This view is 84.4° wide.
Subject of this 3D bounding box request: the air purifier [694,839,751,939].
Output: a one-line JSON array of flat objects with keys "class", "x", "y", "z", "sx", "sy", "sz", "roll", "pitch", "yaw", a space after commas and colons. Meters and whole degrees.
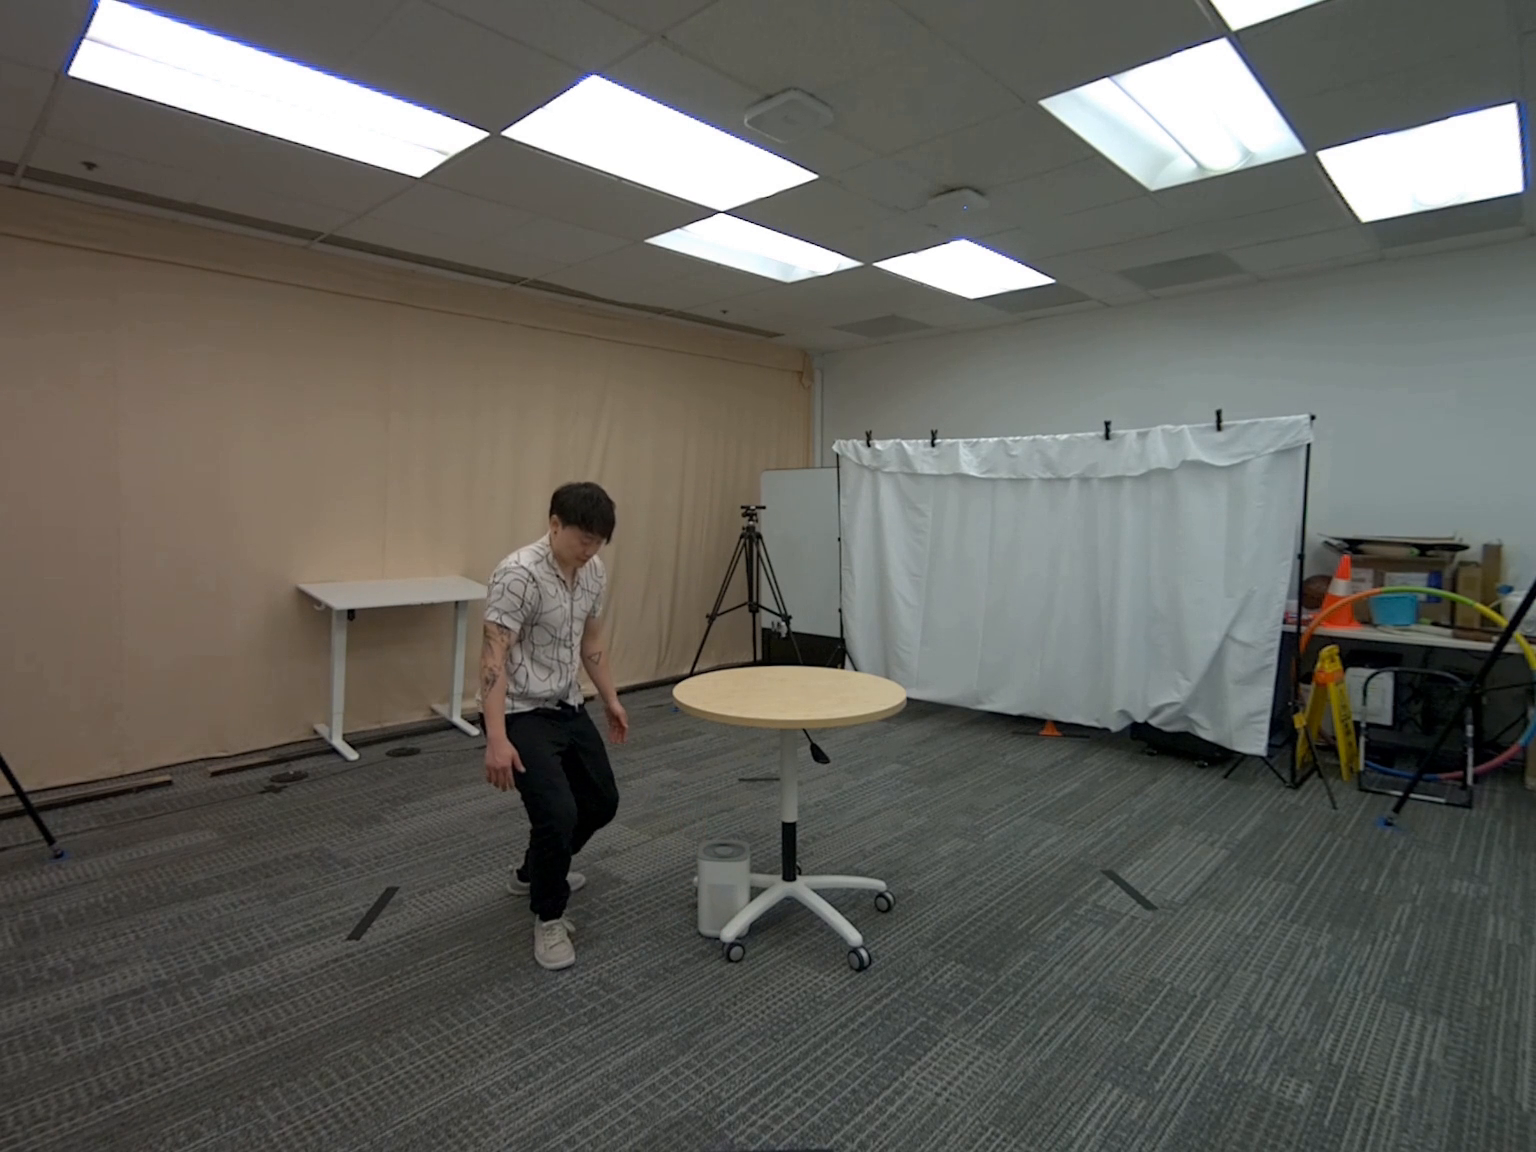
[{"class": "air purifier", "x": -0.142, "y": 1.026, "z": 2.763, "sx": 0.172, "sy": 0.265, "sz": 0.171, "roll": -1, "pitch": 3, "yaw": 0}]
